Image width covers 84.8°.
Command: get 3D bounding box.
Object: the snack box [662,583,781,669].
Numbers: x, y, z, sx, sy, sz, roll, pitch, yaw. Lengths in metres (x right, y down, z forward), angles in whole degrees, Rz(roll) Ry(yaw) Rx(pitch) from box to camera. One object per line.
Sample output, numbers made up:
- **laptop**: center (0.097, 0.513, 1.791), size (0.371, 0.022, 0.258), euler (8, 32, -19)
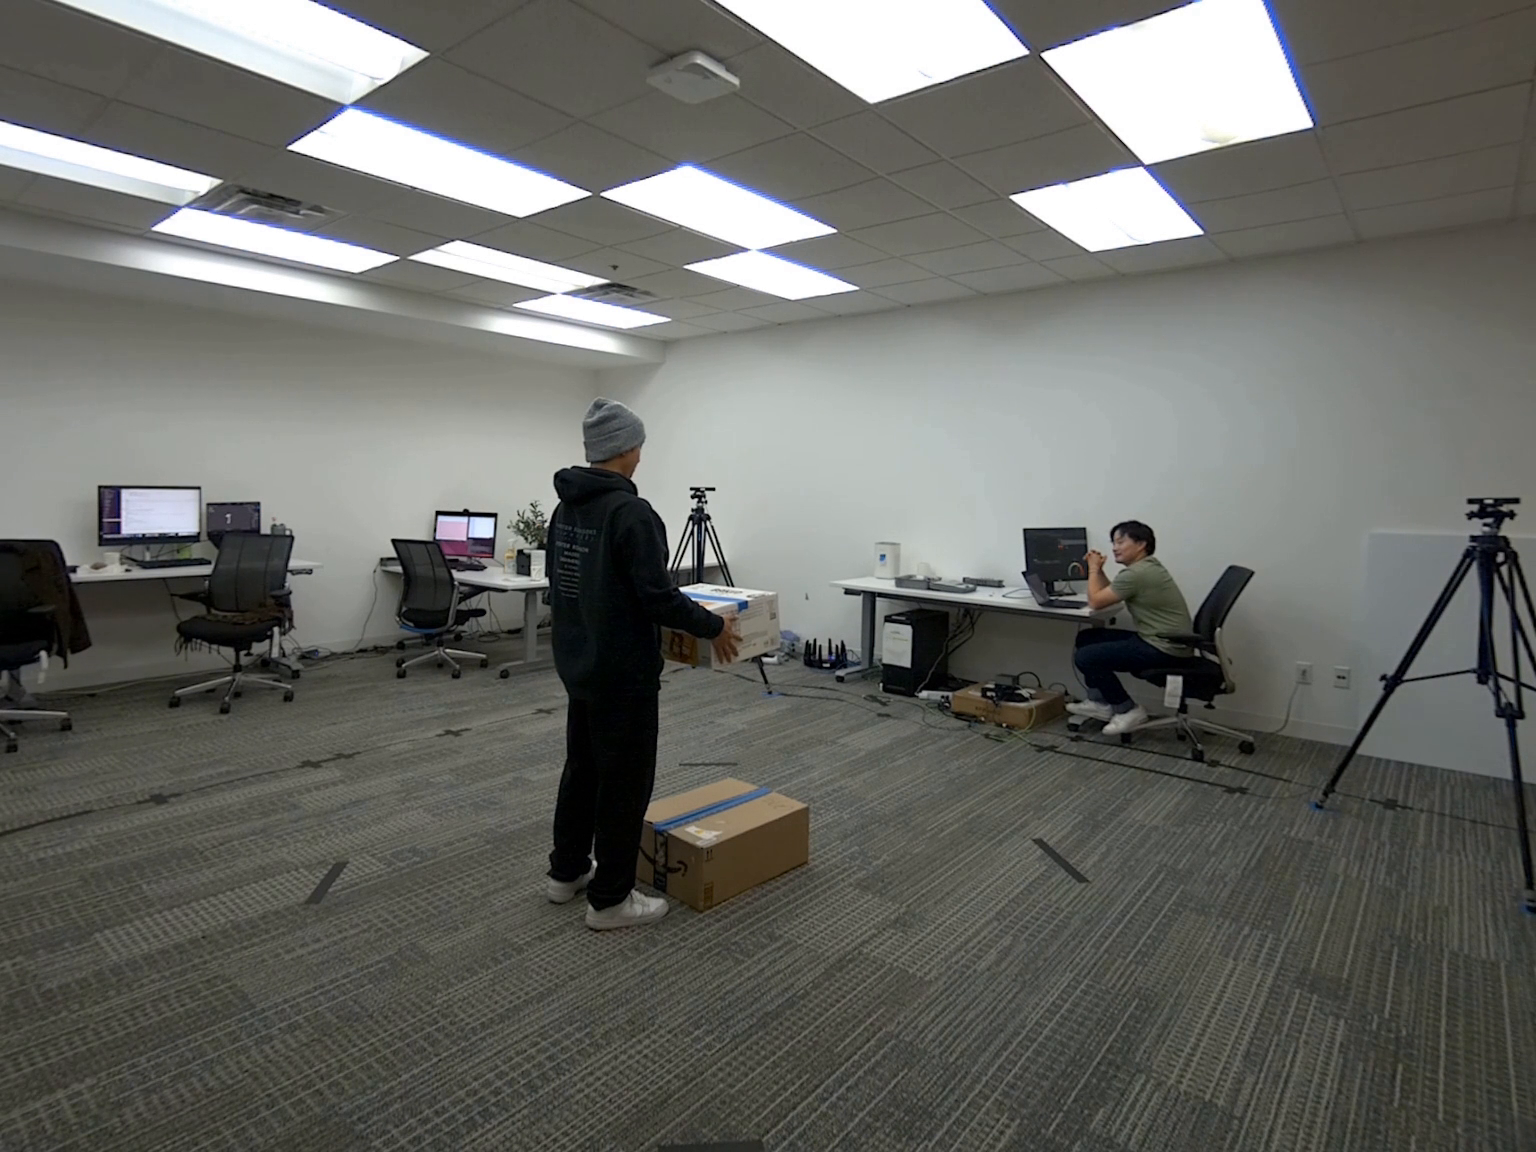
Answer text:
- **snack box**: center (-0.232, 0.168, 3.039), size (0.419, 0.204, 0.332), euler (5, 13, 45)
